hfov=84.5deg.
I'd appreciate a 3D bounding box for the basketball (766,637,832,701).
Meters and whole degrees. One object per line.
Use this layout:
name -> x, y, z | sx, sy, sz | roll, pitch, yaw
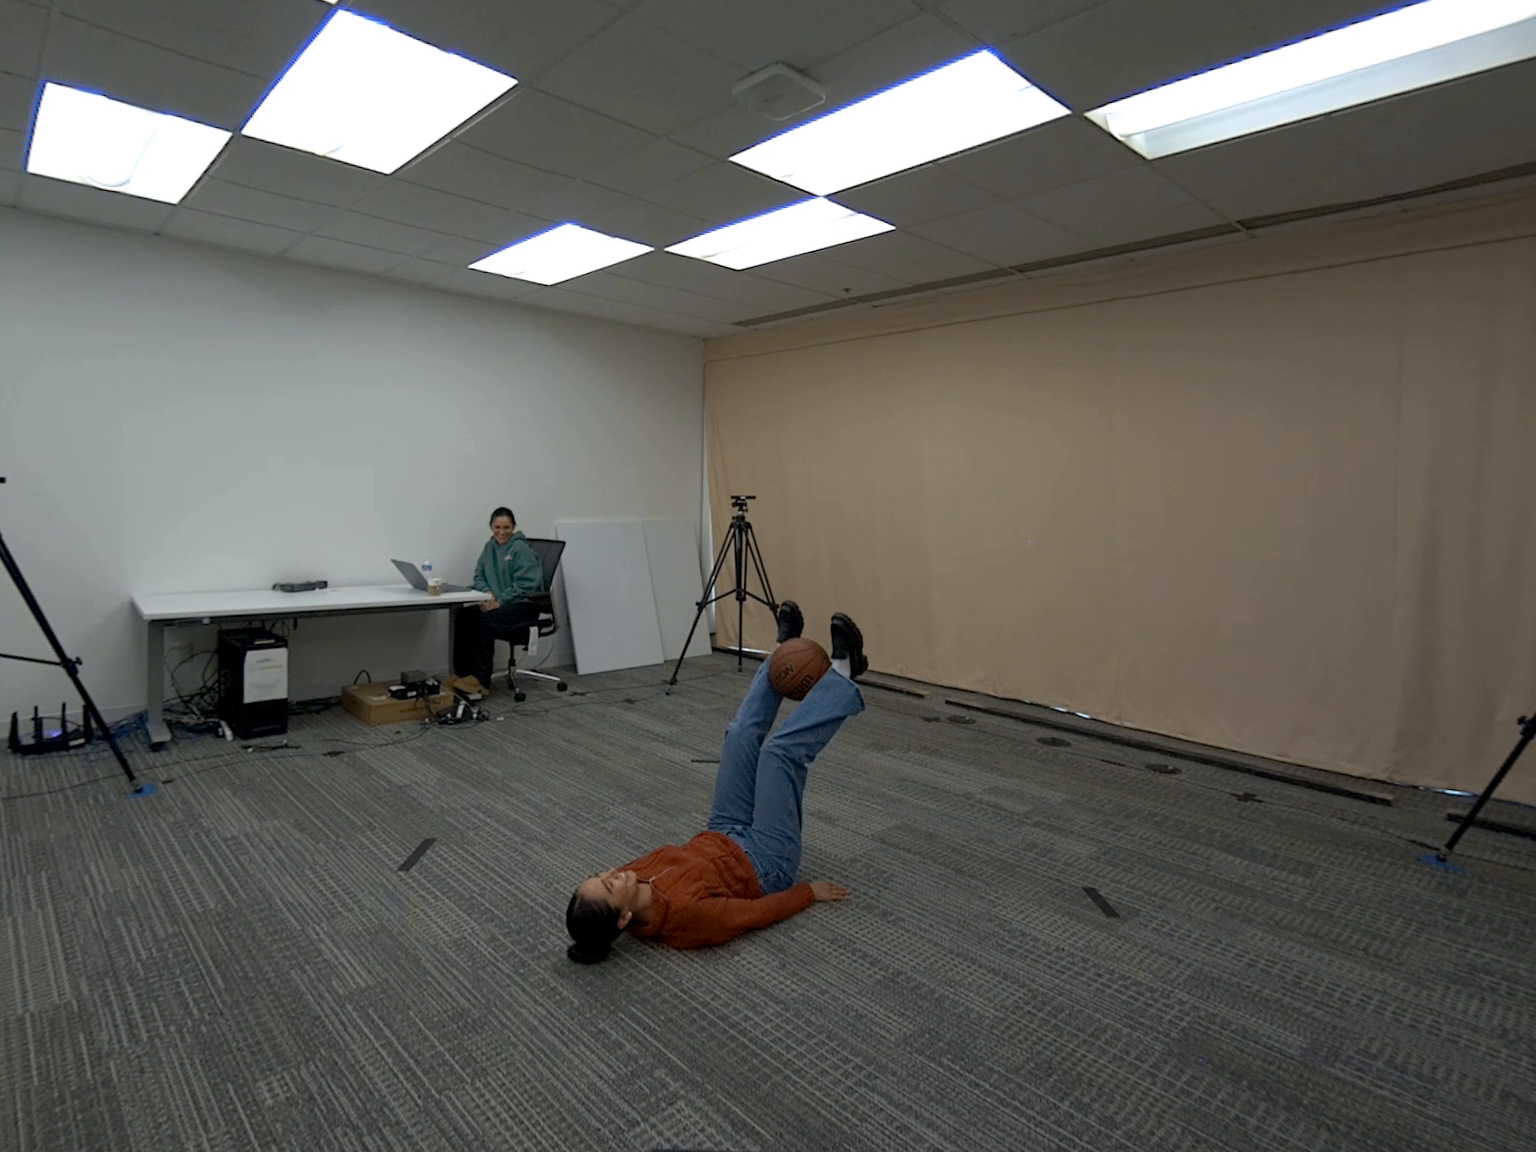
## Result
basketball -> 0.122, 0.356, 3.169 | 0.236, 0.235, 0.237 | 1, 4, -1
